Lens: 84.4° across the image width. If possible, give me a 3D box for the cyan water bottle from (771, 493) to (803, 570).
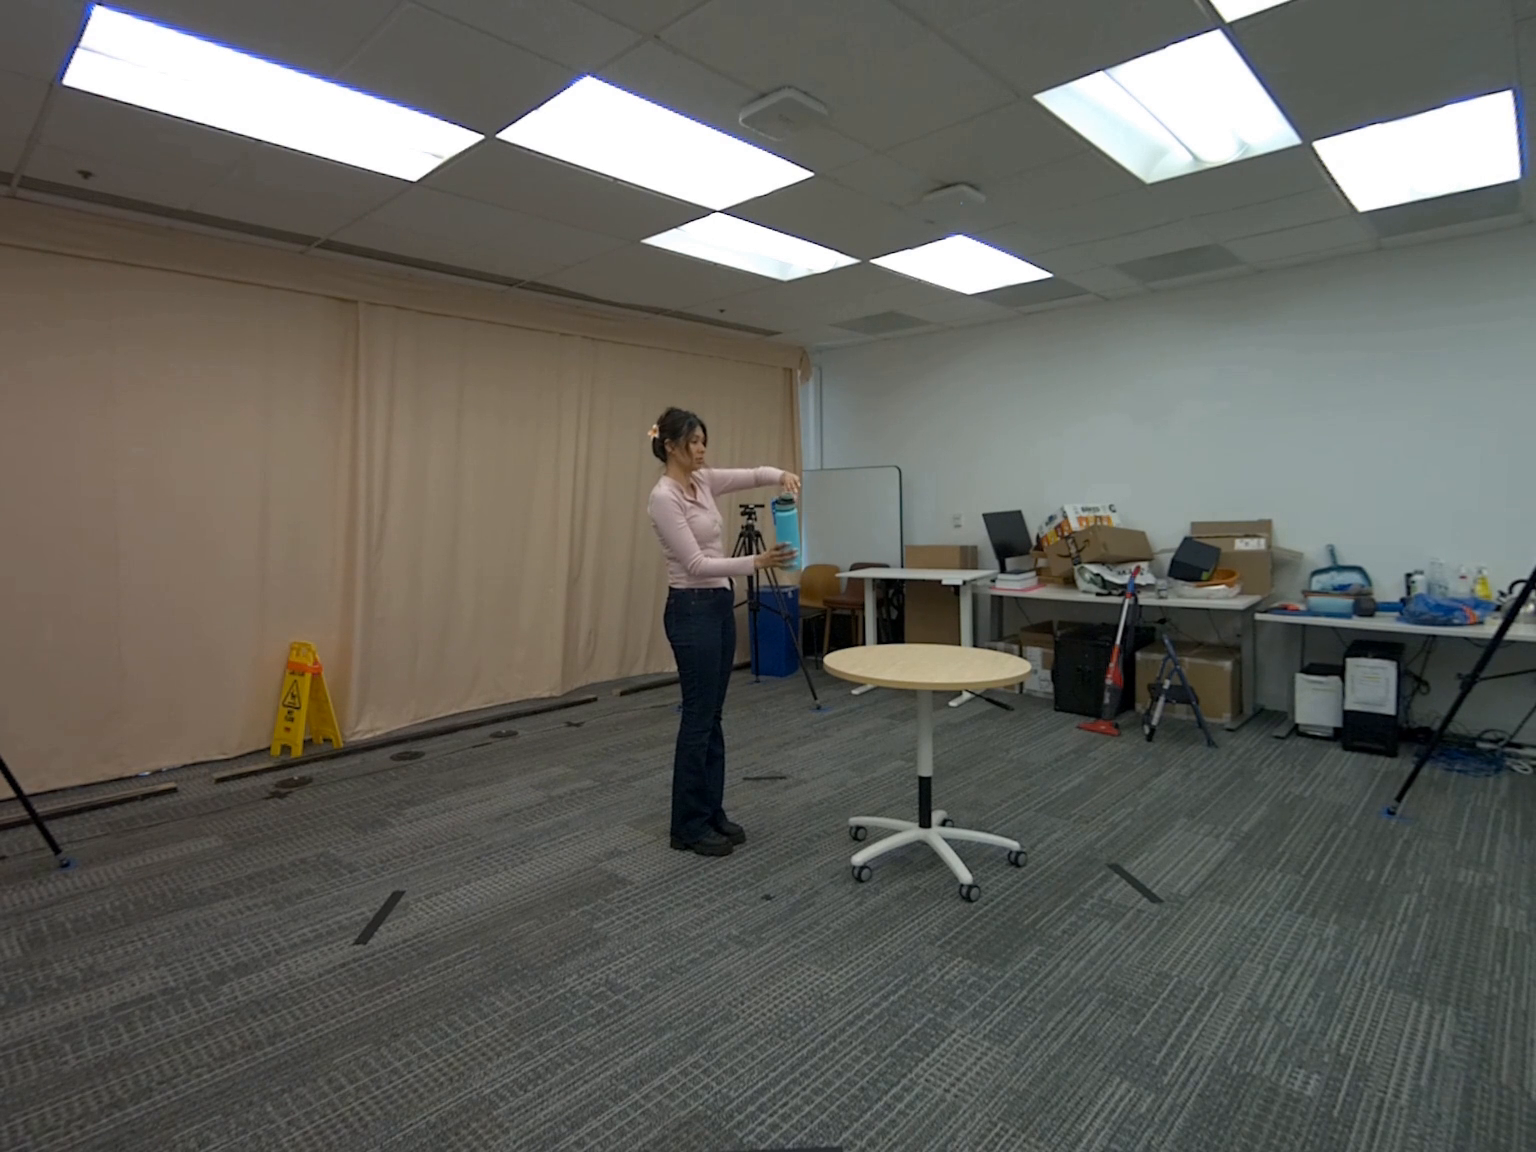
[{"bbox_3d":[0.066,-0.166,3.078,0.092,0.280,0.093,-4,18,0],"label":"cyan water bottle"}]
